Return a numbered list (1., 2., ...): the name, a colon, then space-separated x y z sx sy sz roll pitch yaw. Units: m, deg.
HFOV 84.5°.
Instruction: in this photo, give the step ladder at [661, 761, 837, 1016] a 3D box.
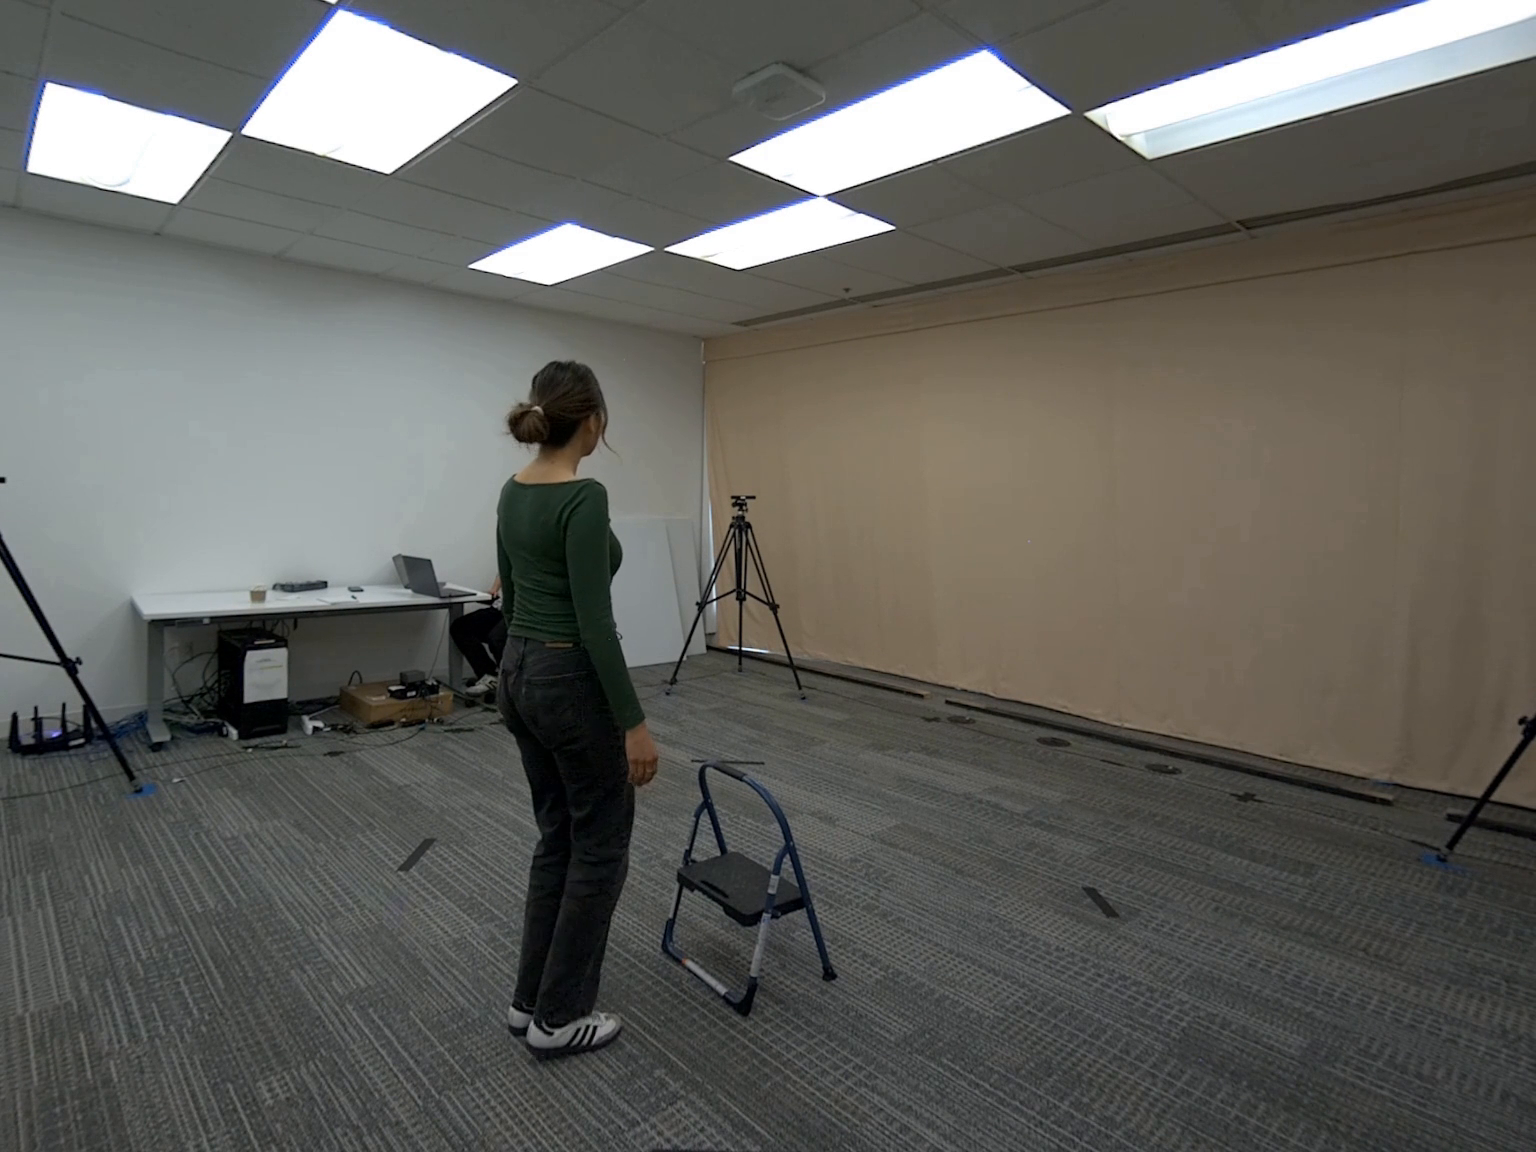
1. step ladder: -0.063 0.856 2.496 0.341 0.604 0.441 -2 5 -40
